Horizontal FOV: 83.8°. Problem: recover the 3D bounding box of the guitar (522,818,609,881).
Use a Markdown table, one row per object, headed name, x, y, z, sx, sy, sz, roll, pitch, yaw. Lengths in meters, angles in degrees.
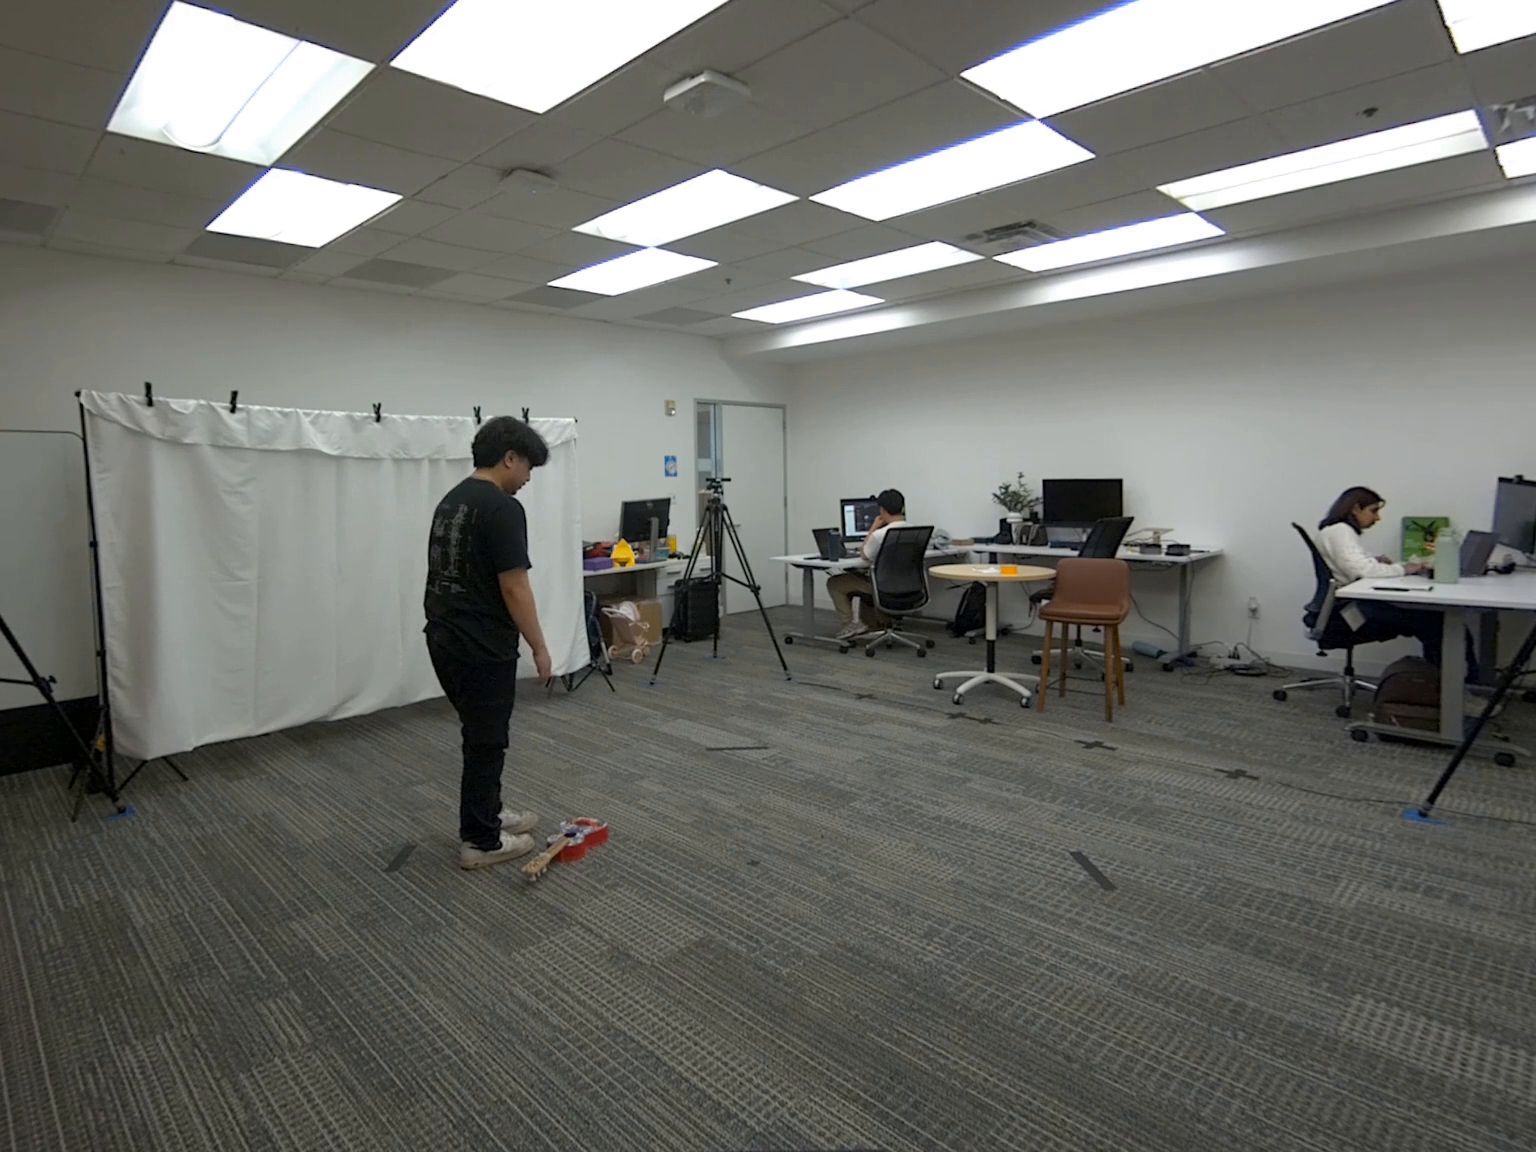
| name | x | y | z | sx | sy | sz | roll | pitch | yaw |
| --- | --- | --- | --- | --- | --- | --- | --- | --- | --- |
| guitar | -0.791 | 1.014 | 3.178 | 0.197 | 0.070 | 0.489 | 2 | 7 | 23 |
